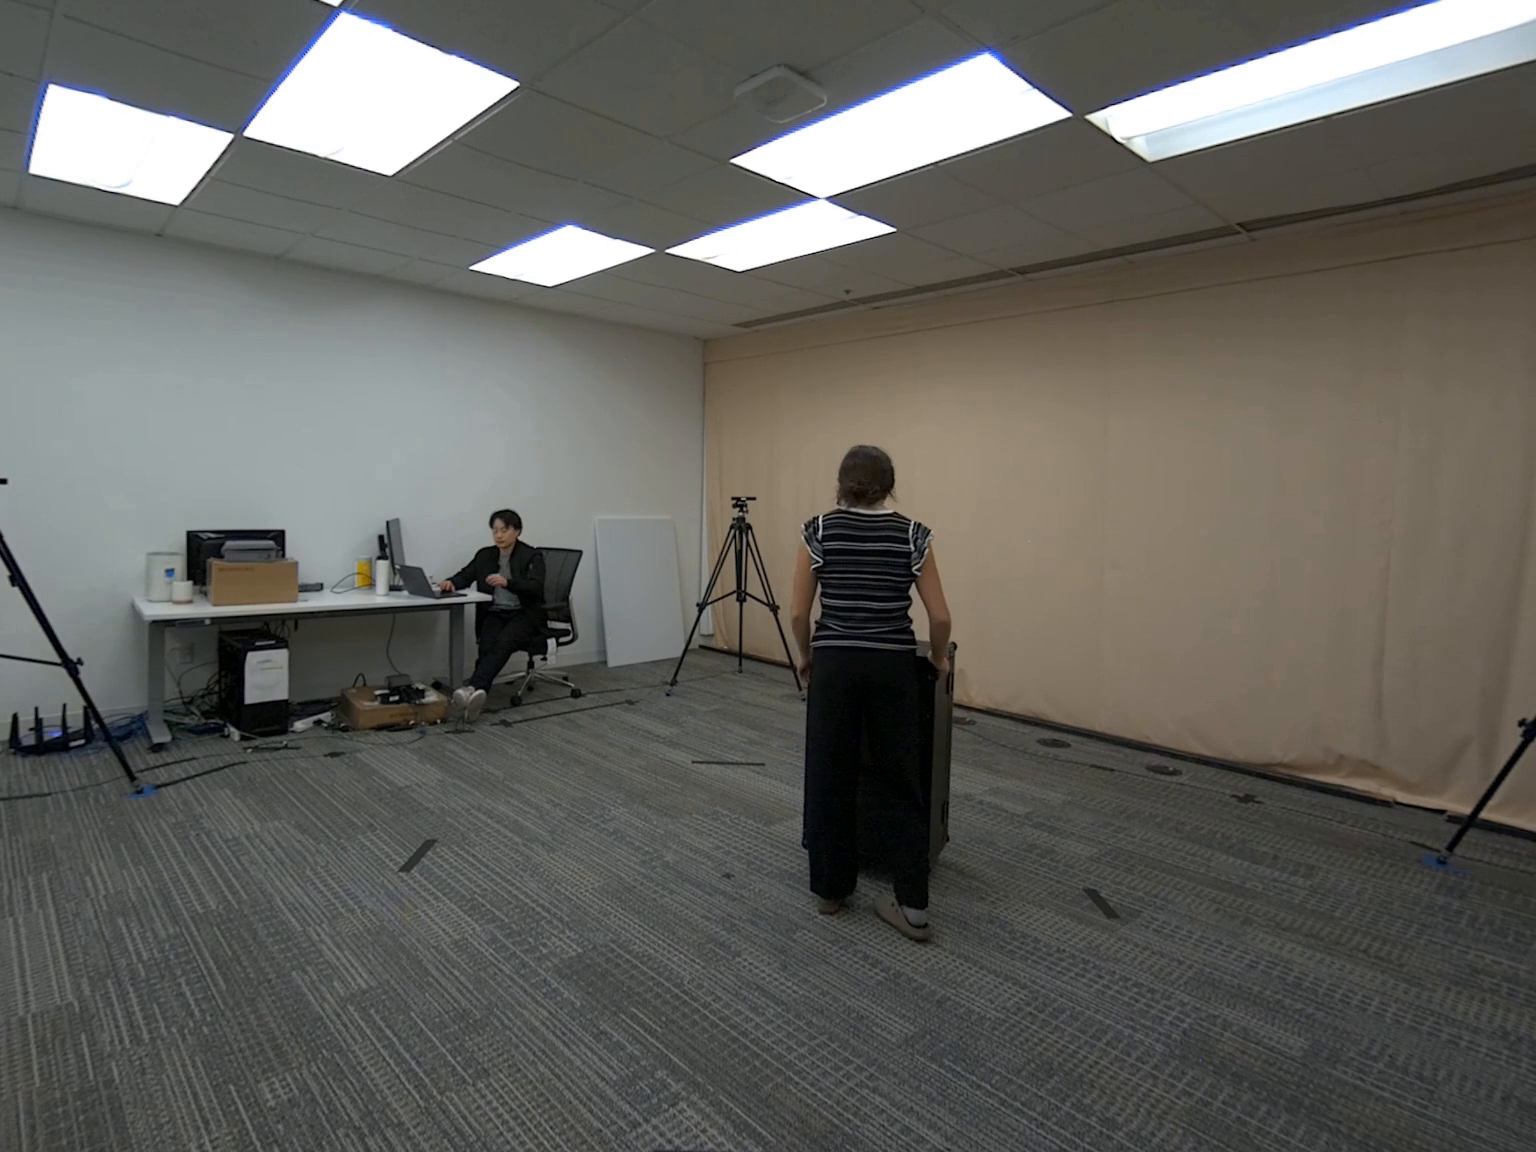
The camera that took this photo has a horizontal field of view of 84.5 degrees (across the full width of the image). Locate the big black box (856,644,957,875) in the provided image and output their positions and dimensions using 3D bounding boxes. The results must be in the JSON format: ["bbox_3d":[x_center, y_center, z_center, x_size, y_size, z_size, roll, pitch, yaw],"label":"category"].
[{"bbox_3d":[0.426,0.688,3.222,0.531,0.859,0.389,3,4,25],"label":"big black box"}]
